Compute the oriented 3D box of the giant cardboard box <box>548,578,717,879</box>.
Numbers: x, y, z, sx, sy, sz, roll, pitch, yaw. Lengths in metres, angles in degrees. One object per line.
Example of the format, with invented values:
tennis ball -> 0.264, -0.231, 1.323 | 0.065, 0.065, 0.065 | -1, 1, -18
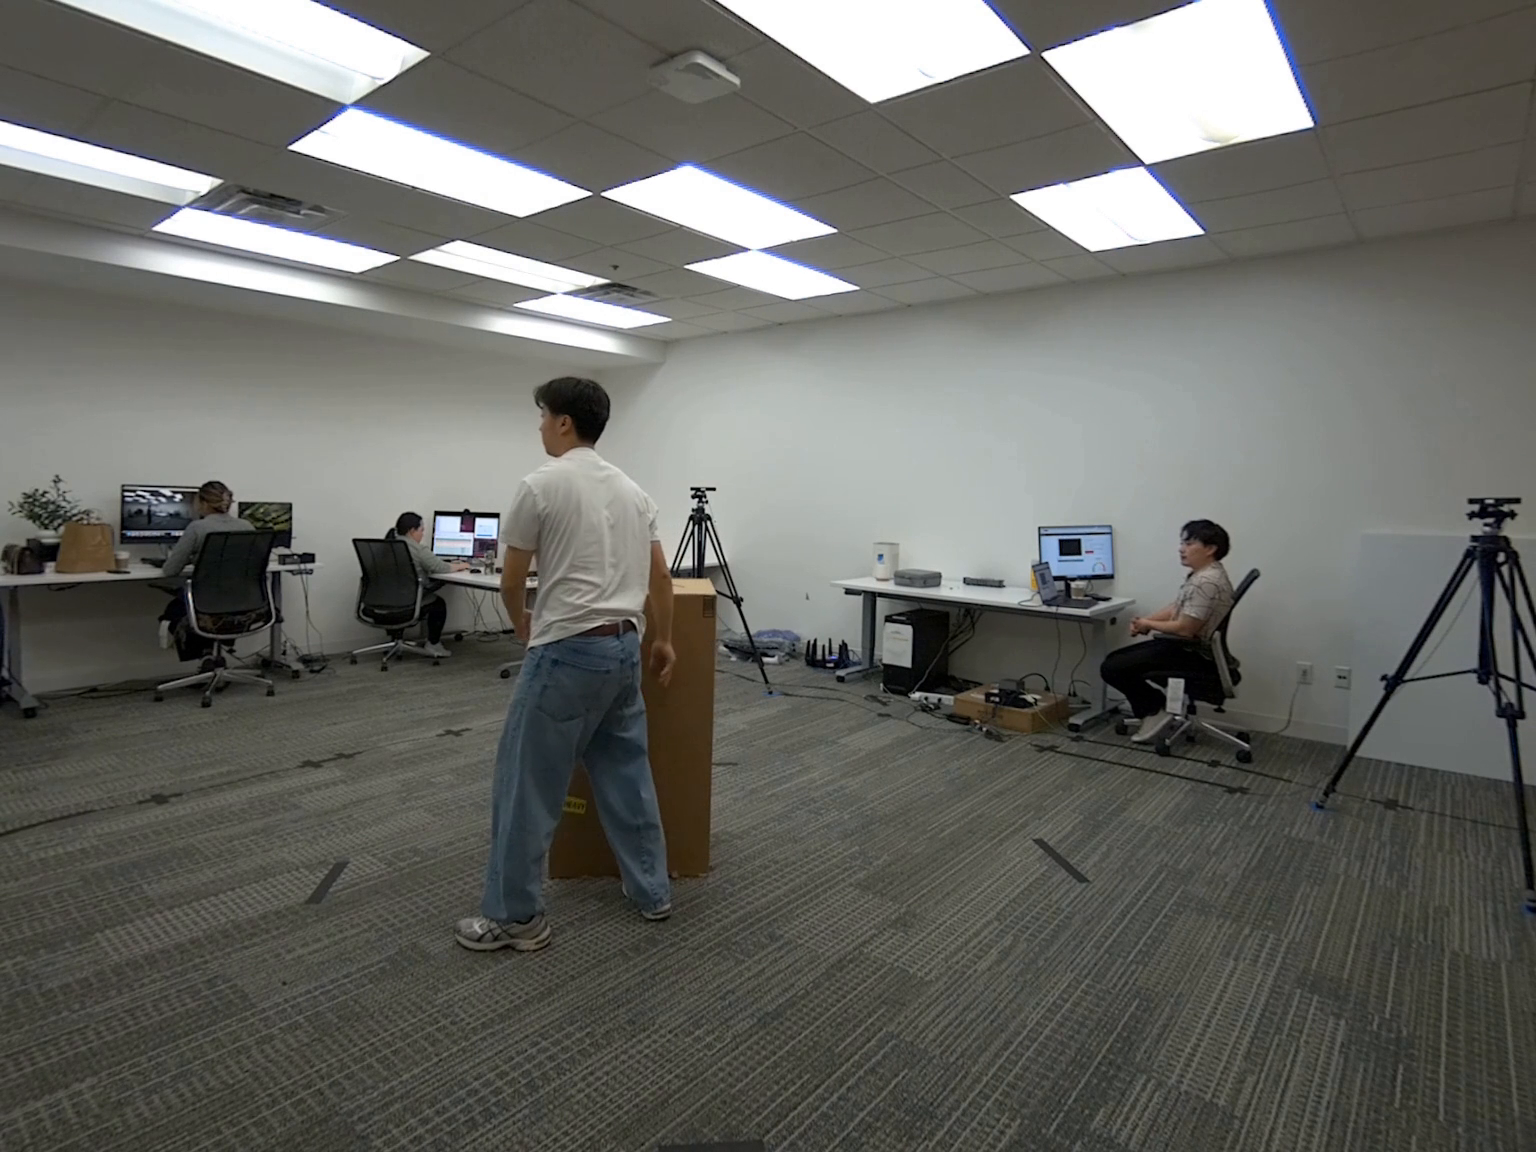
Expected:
giant cardboard box -> -0.513, 0.538, 3.201 | 0.575, 1.022, 0.429 | 1, 4, -4
